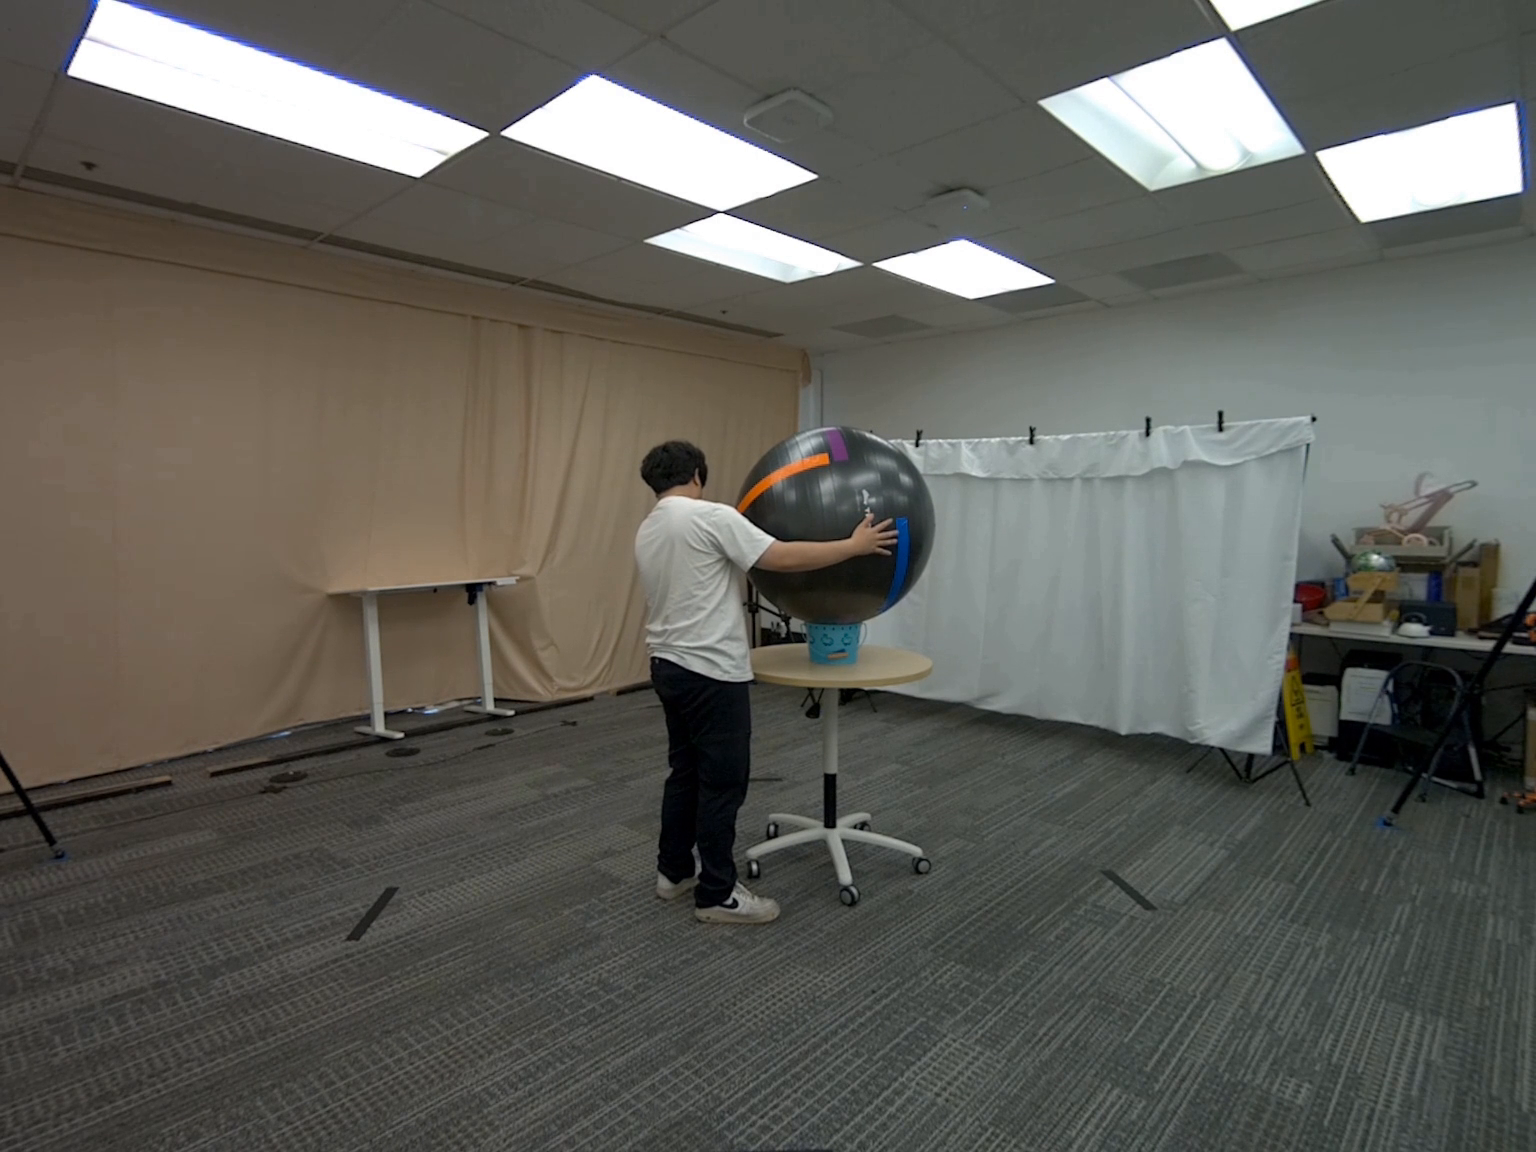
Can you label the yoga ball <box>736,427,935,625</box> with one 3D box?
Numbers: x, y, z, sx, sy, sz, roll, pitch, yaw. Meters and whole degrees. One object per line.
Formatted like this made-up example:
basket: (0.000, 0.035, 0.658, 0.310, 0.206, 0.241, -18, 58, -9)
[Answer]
yoga ball: (0.250, -0.187, 3.221, 0.757, 0.756, 0.761, 0, 4, -2)
